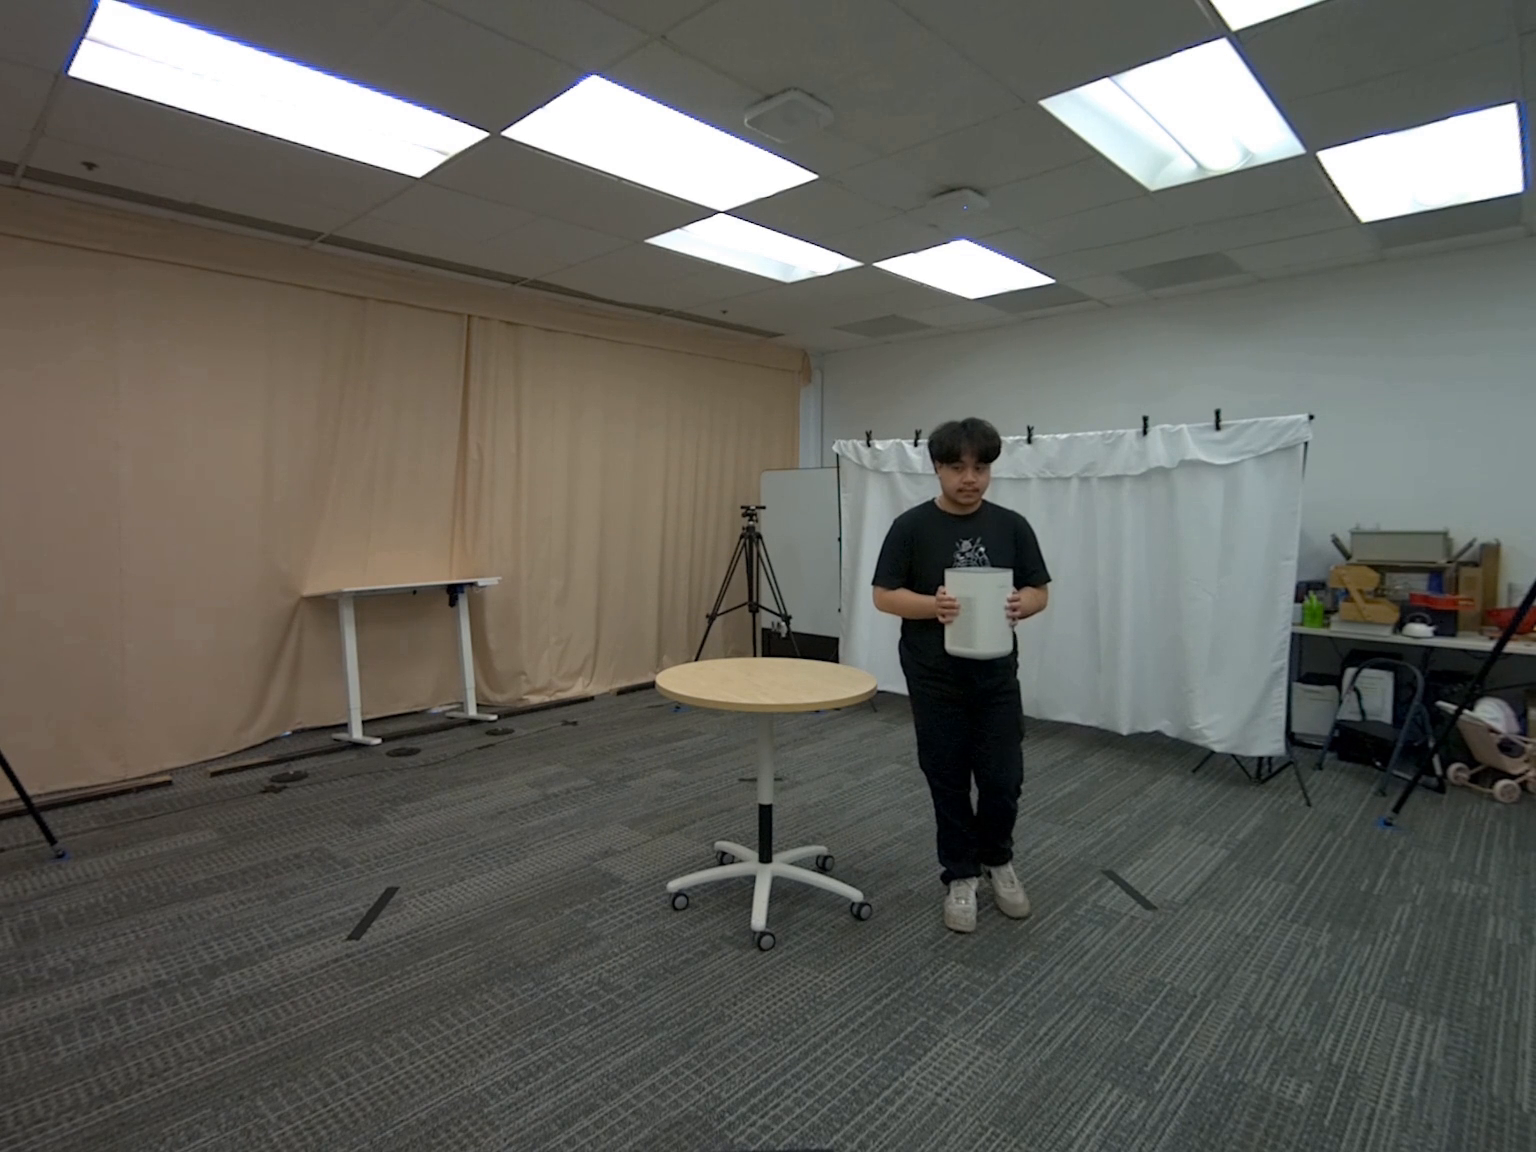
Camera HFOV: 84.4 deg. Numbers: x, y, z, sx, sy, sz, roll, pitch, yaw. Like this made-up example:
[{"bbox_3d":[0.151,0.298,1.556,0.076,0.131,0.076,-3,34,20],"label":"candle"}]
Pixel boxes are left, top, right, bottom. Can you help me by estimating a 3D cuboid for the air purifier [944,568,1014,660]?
[{"bbox_3d":[0.648,0.111,2.581,0.166,0.265,0.177,-4,4,-41],"label":"air purifier"}]
